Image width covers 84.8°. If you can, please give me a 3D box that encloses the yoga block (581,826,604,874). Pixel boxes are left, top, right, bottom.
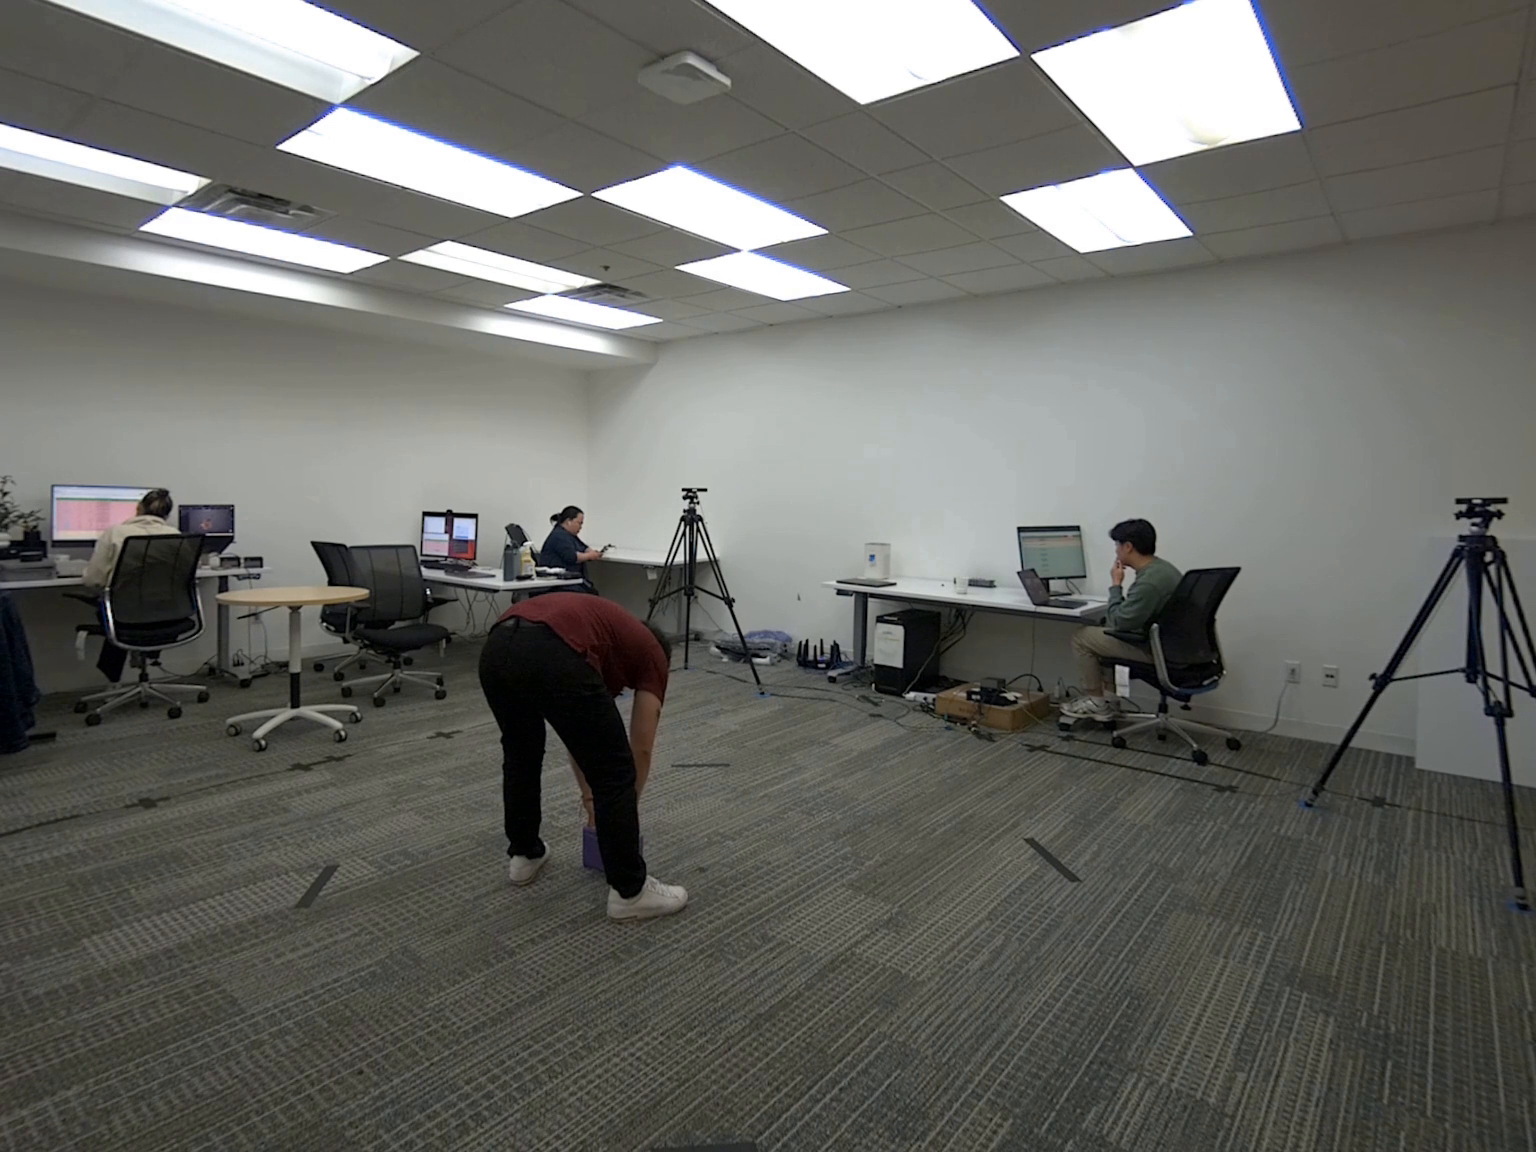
[{"bbox_3d":[-0.575,0.991,3.081,0.236,0.148,0.074,3,5,29],"label":"yoga block"}]
